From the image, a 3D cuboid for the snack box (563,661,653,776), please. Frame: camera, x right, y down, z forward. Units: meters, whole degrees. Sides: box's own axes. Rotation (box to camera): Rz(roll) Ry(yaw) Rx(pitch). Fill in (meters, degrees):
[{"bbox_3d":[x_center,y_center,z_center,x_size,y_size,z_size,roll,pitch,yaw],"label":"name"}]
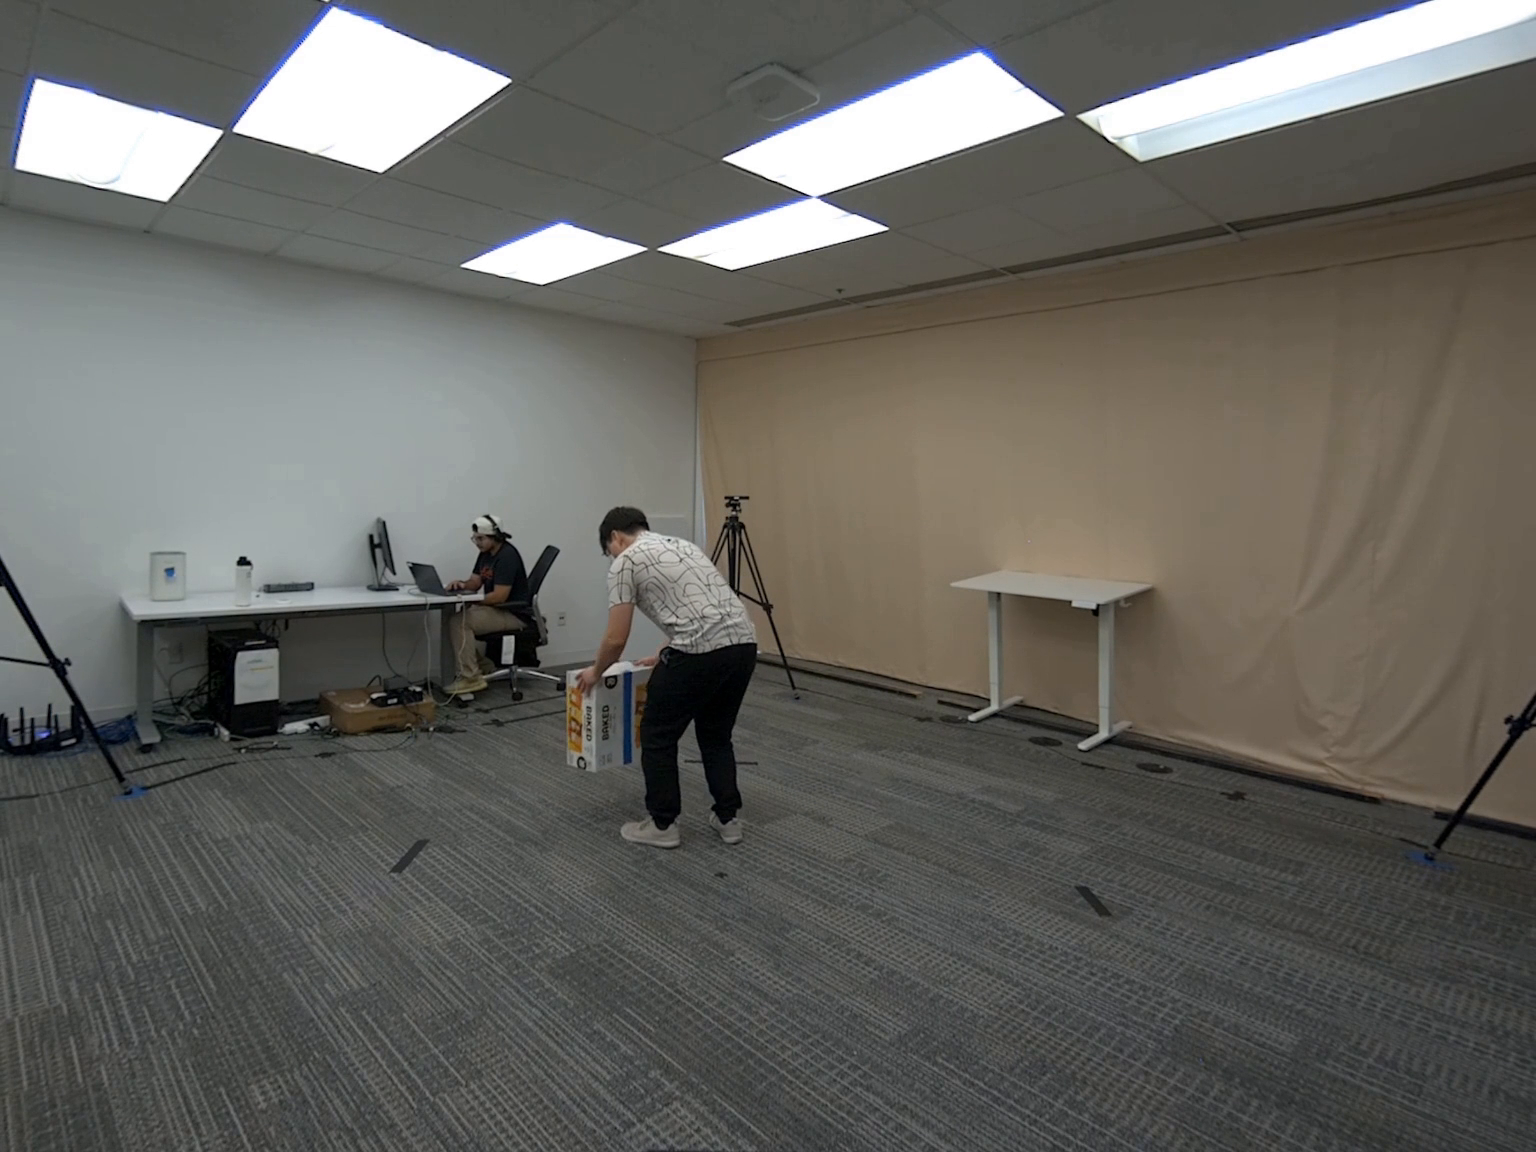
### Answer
[{"bbox_3d":[-0.690,0.607,3.687,0.211,0.404,0.332,3,3,41],"label":"snack box"}]
